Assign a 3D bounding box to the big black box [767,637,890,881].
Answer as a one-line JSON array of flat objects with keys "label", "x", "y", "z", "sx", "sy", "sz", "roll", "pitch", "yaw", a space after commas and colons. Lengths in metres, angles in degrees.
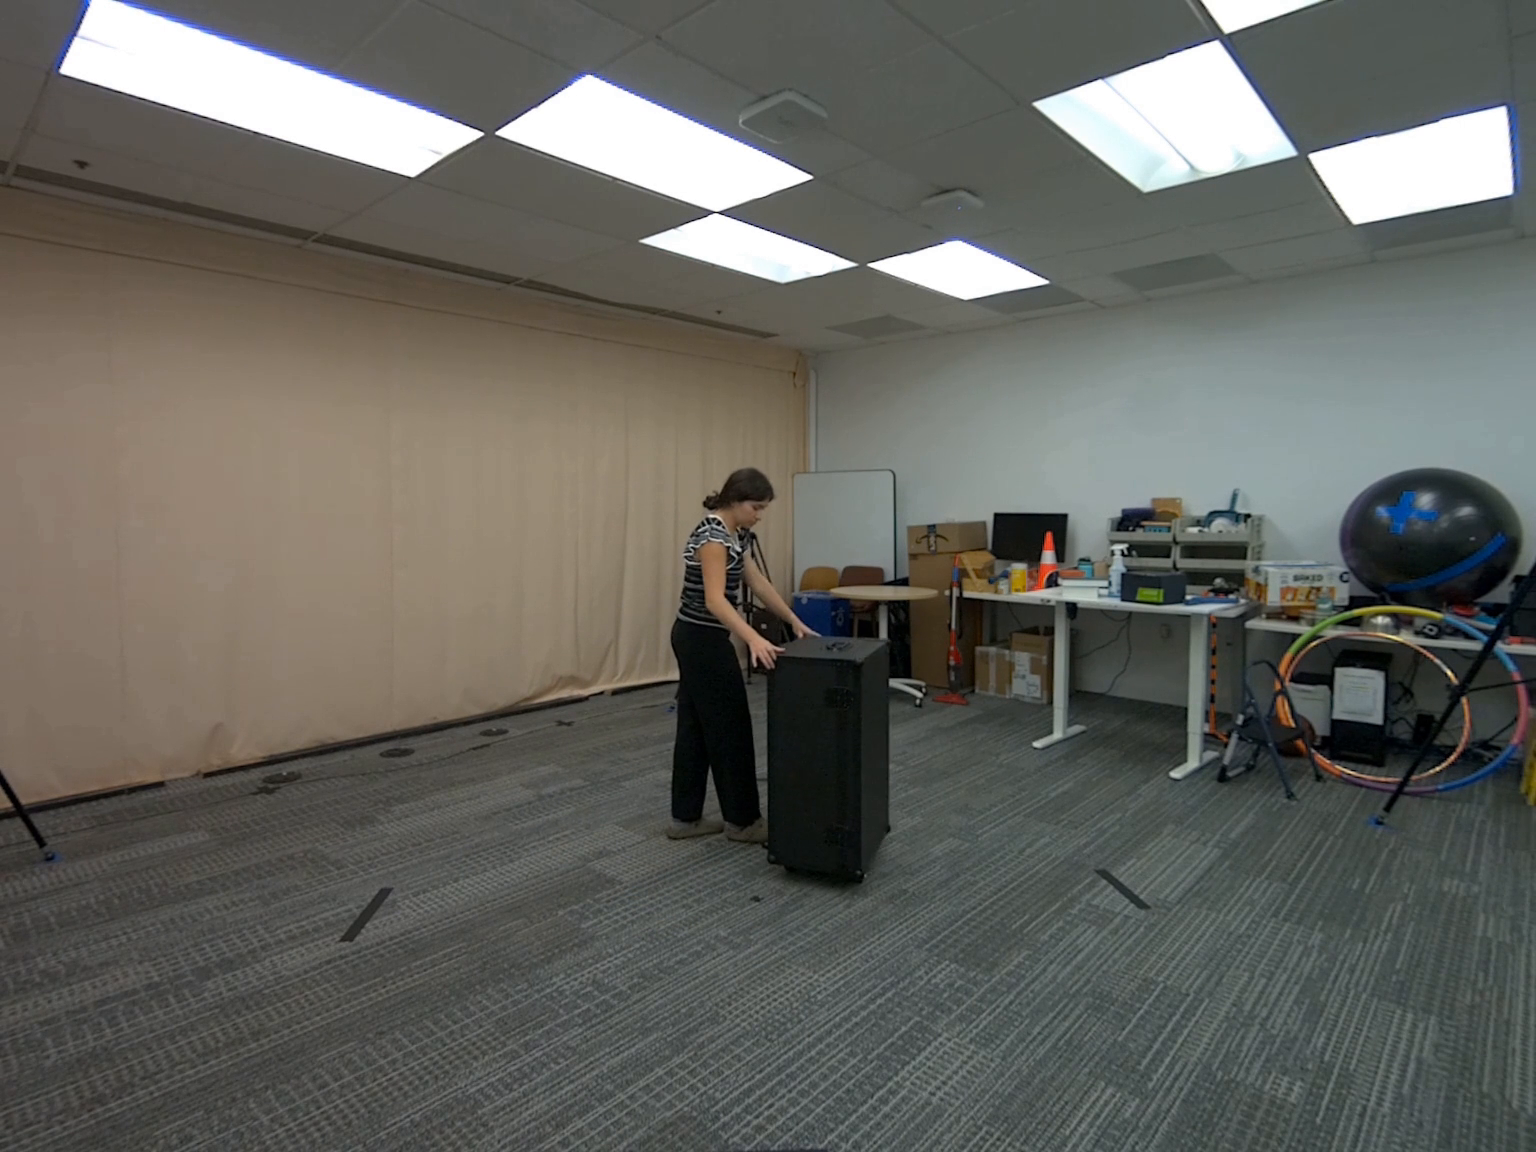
[{"label": "big black box", "x": 0.239, "y": 0.695, "z": 3.242, "sx": 0.405, "sy": 0.859, "sz": 0.511, "roll": 0, "pitch": 4, "yaw": 21}]
